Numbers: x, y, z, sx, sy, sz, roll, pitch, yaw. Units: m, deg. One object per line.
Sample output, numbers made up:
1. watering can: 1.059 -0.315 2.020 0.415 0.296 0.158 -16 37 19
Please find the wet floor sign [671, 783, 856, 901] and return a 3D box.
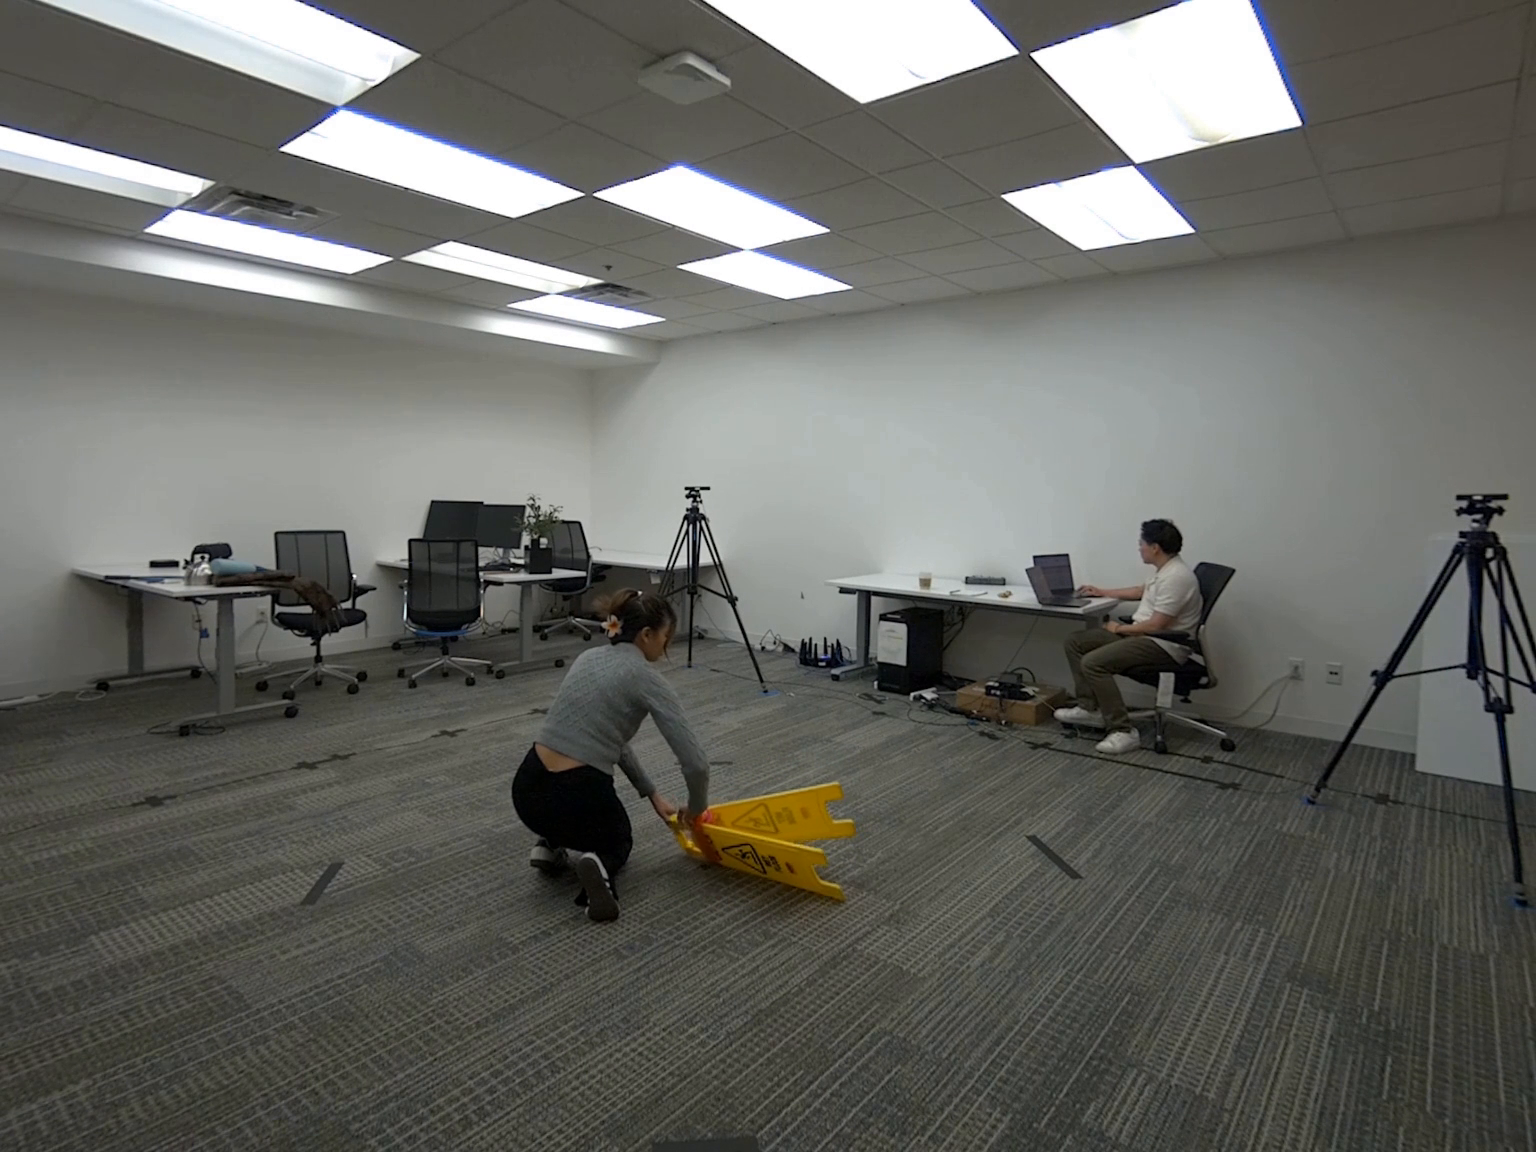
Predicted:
1. wet floor sign: -0.049 0.939 3.052 0.660 0.273 0.293 -5 34 23
